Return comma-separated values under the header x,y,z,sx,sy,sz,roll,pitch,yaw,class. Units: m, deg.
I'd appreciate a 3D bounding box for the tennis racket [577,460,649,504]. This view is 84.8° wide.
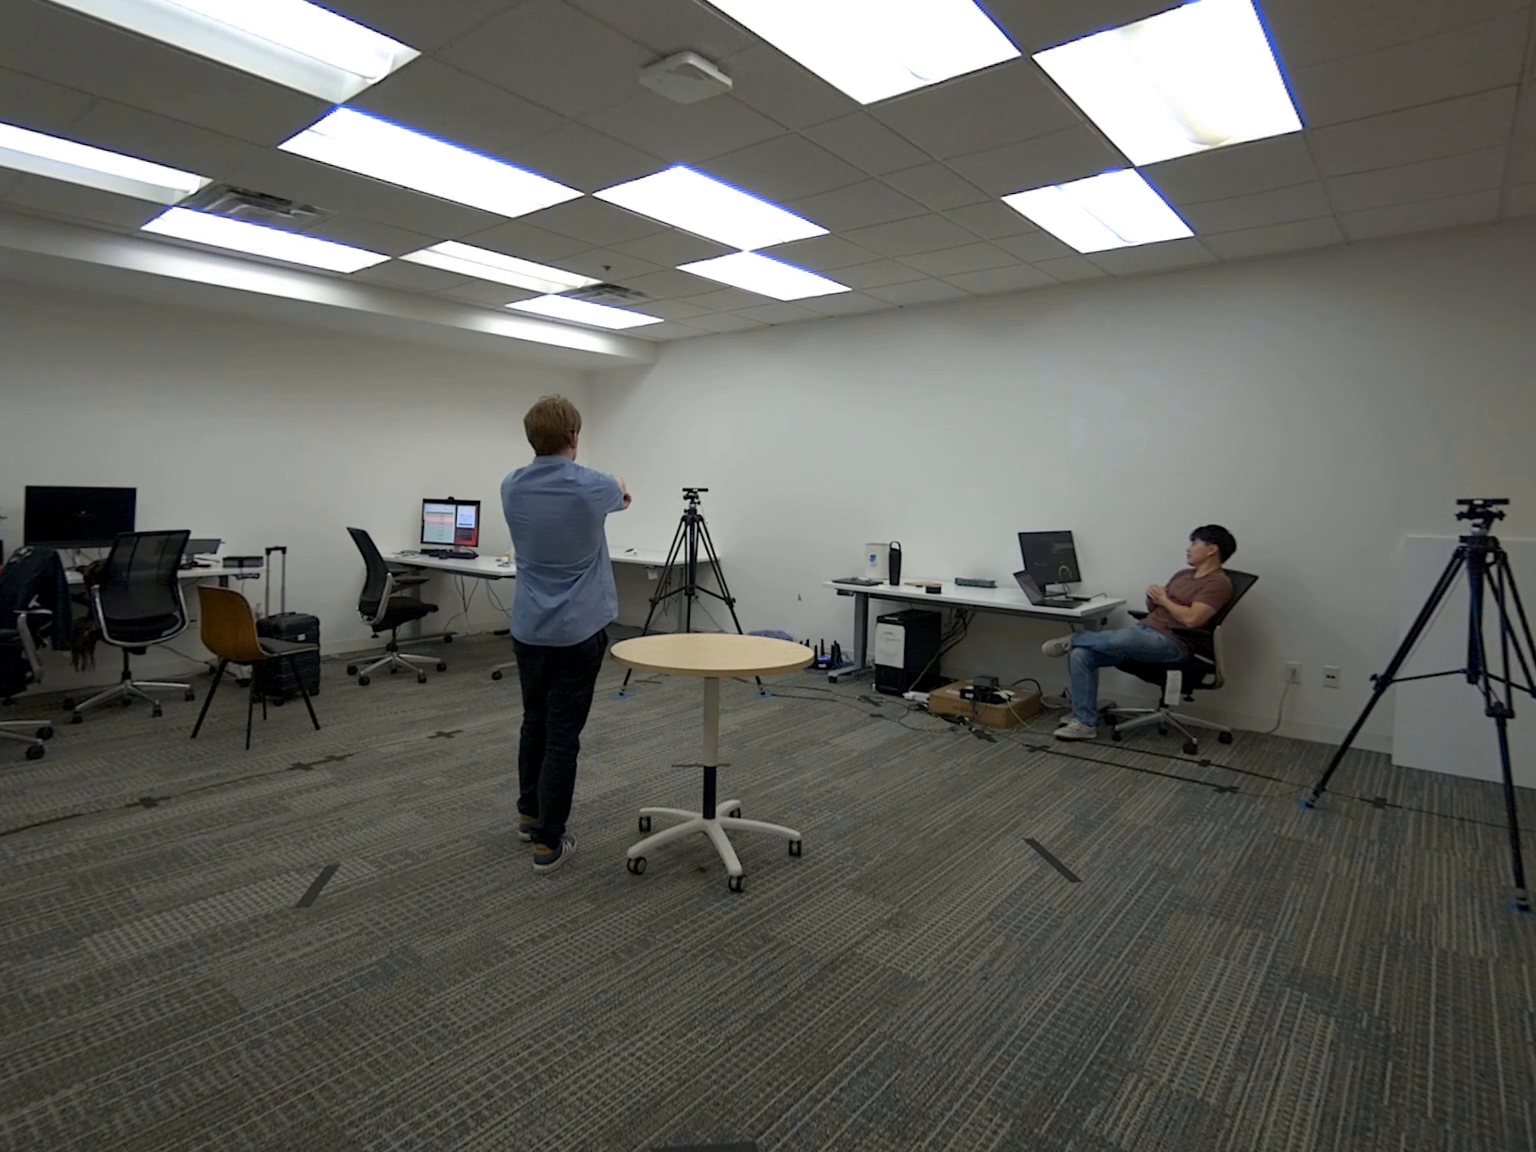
x,y,z,sx,sy,sz,roll,pitch,yaw,class
-0.750,-0.433,3.776,0.206,0.031,0.451,4,22,-46,tennis racket
